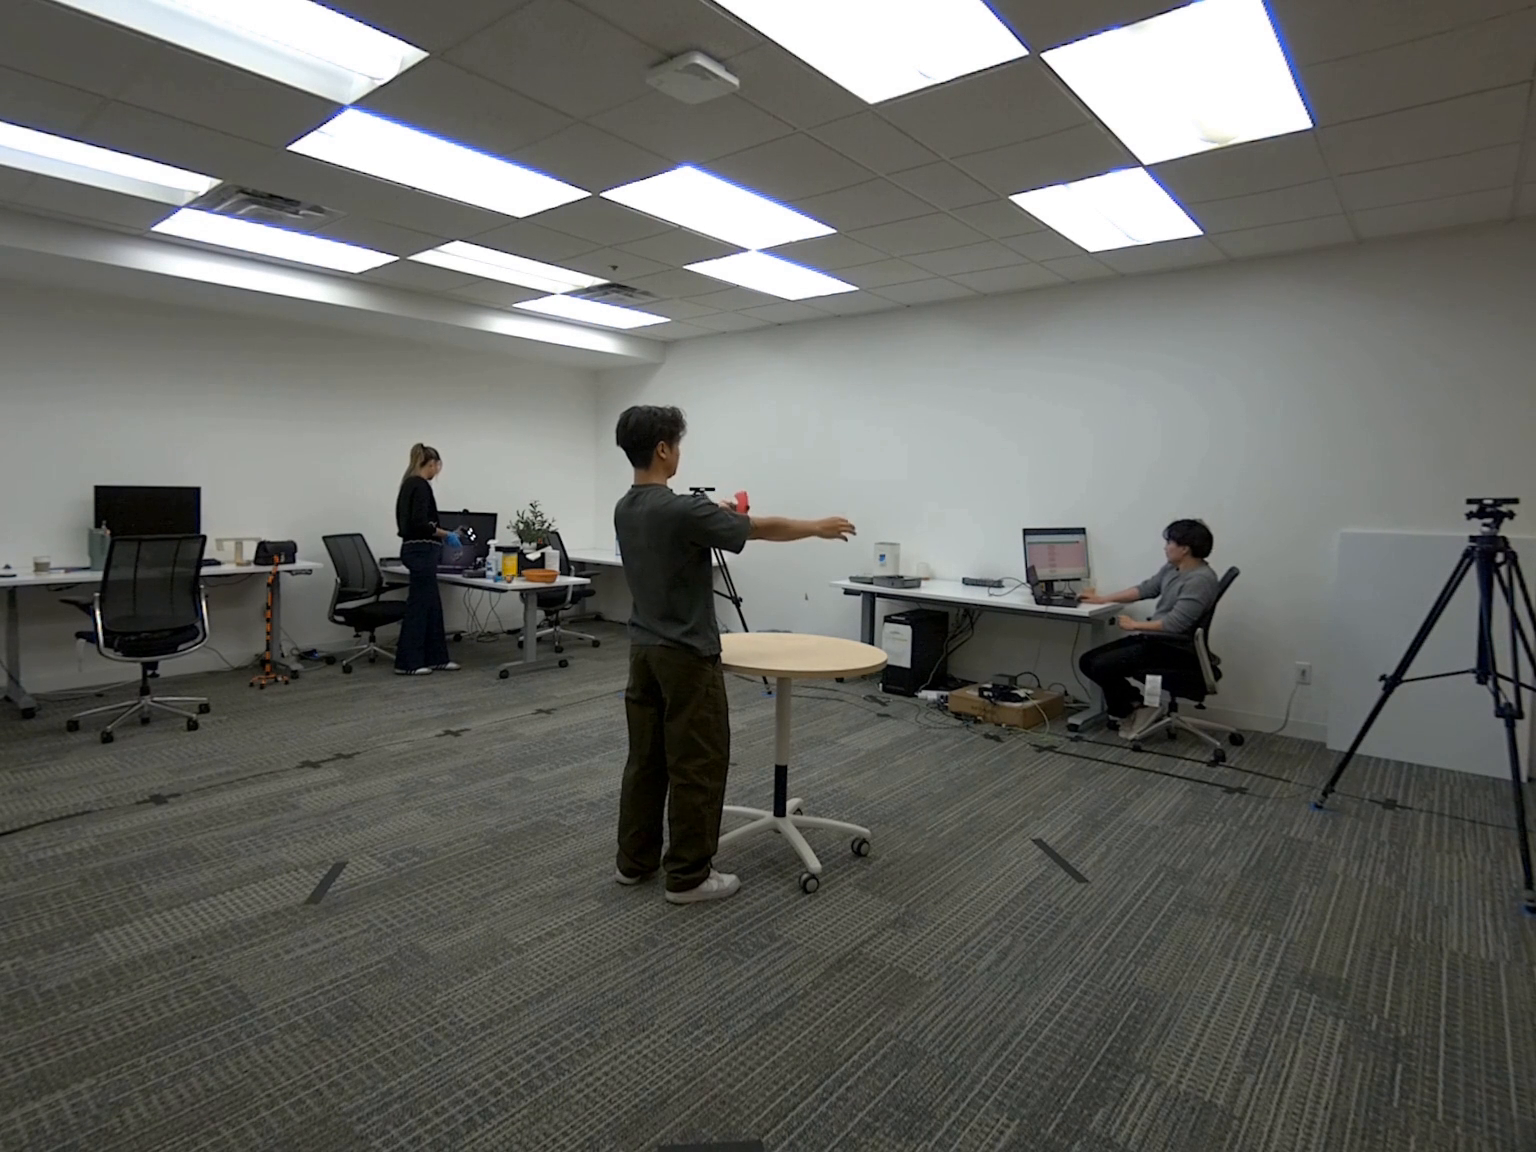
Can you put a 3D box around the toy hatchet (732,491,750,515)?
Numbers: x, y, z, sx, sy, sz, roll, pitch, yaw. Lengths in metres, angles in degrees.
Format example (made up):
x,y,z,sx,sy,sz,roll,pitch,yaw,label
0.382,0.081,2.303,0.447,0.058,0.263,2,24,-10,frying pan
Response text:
x,y,z,sx,sy,sz,roll,pitch,yaw,label
-0.179,-0.323,3.527,0.028,0.130,0.281,0,24,-46,toy hatchet
